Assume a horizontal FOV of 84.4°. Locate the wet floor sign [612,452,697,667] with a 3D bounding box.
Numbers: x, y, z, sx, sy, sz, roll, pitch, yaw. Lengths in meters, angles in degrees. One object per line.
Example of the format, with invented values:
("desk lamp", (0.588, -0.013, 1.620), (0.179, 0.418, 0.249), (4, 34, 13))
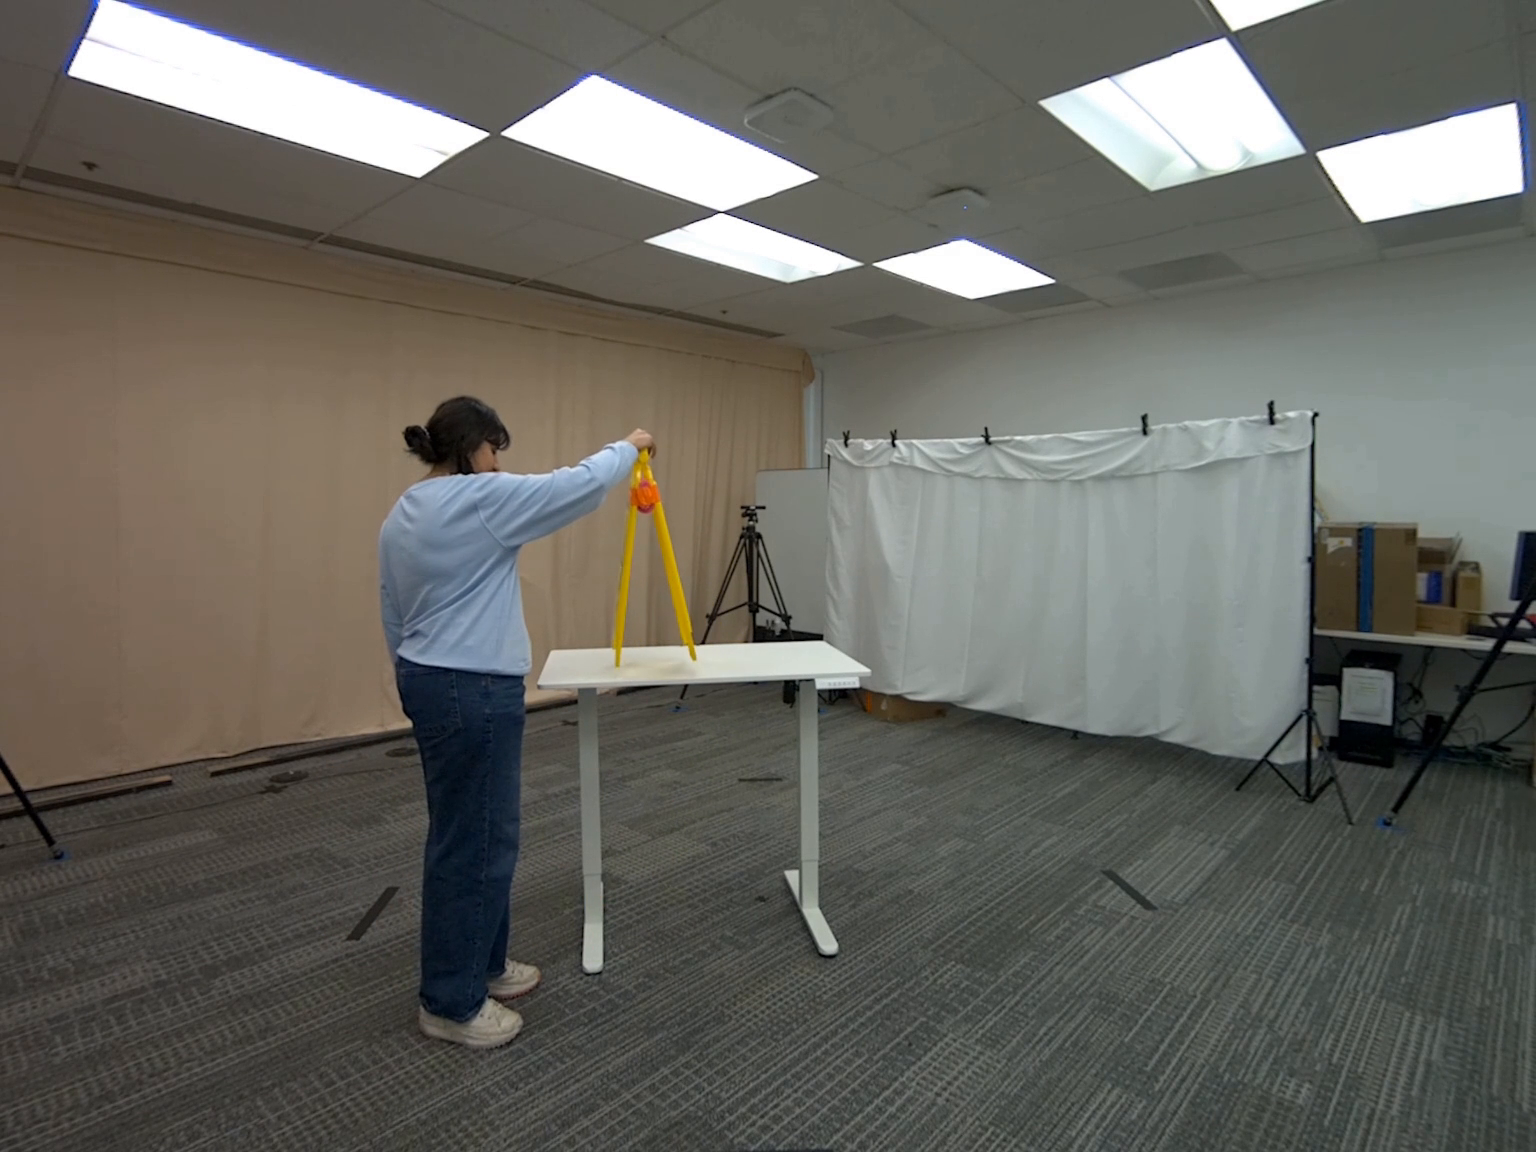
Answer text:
("wet floor sign", (-0.371, -0.075, 2.597), (0.286, 0.643, 0.287), (-2, 8, -11))
